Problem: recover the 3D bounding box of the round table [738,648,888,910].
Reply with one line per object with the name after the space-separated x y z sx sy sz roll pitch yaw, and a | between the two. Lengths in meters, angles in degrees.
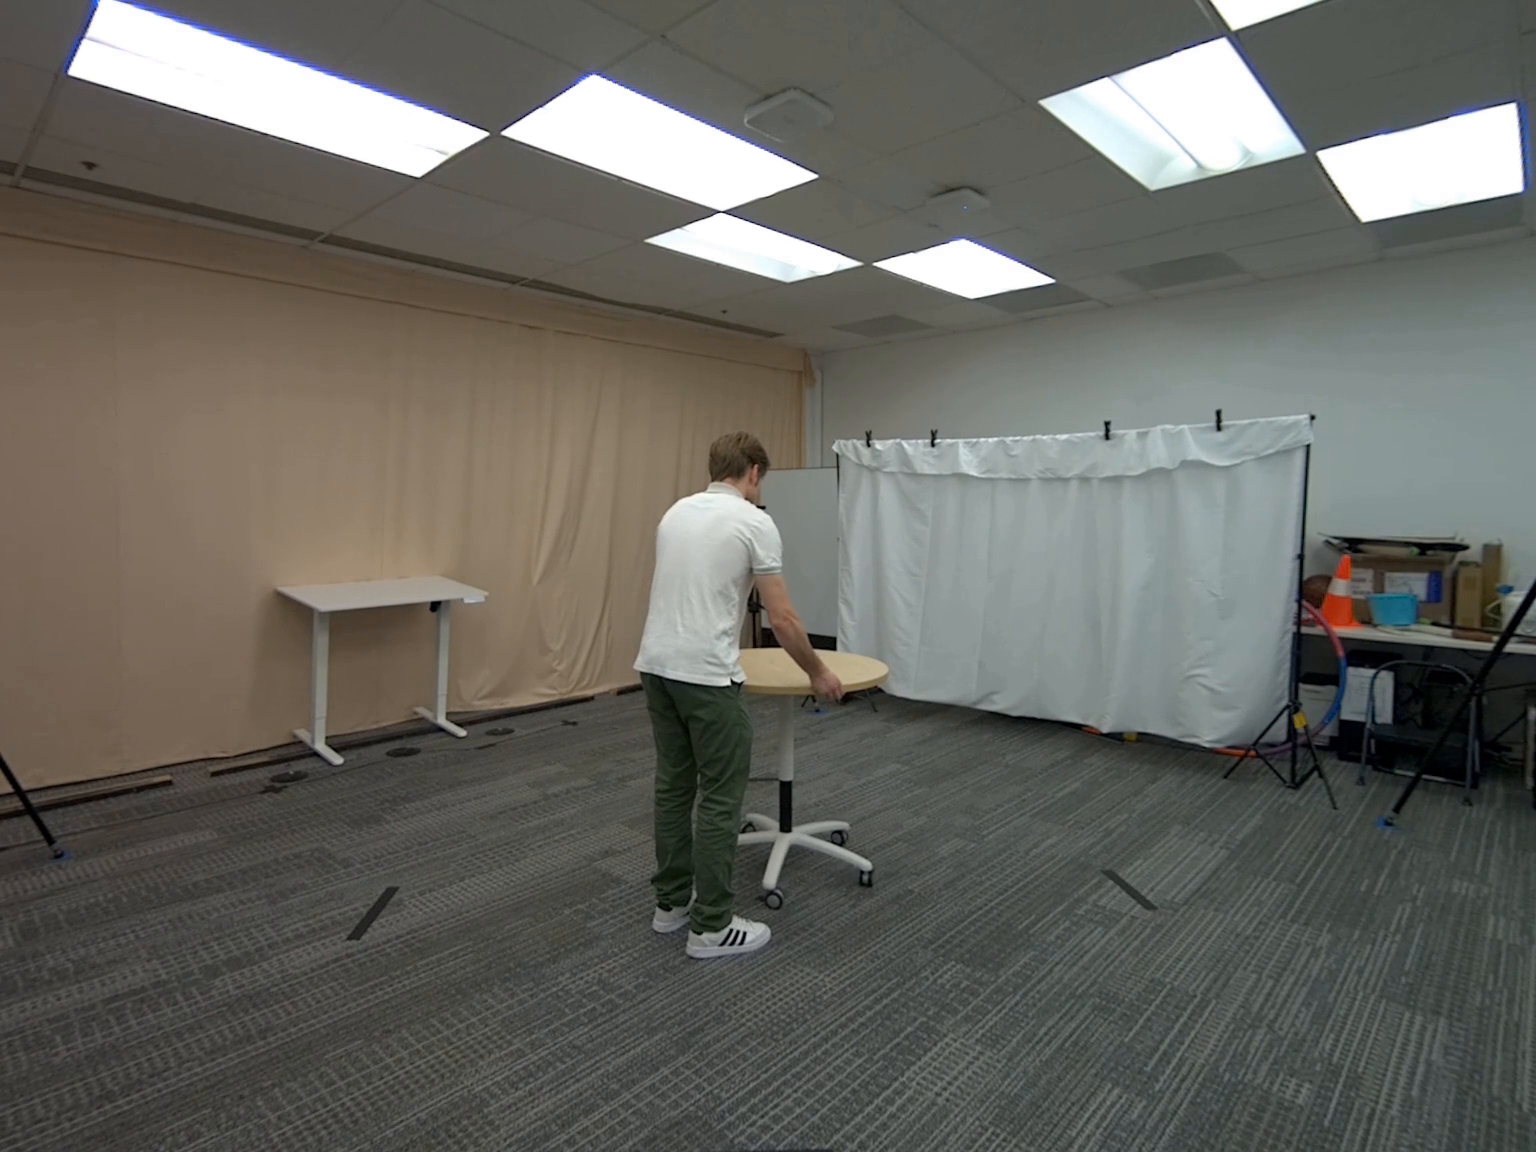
0.073 0.733 3.223 0.763 0.792 0.767 0 4 -2 | round table
